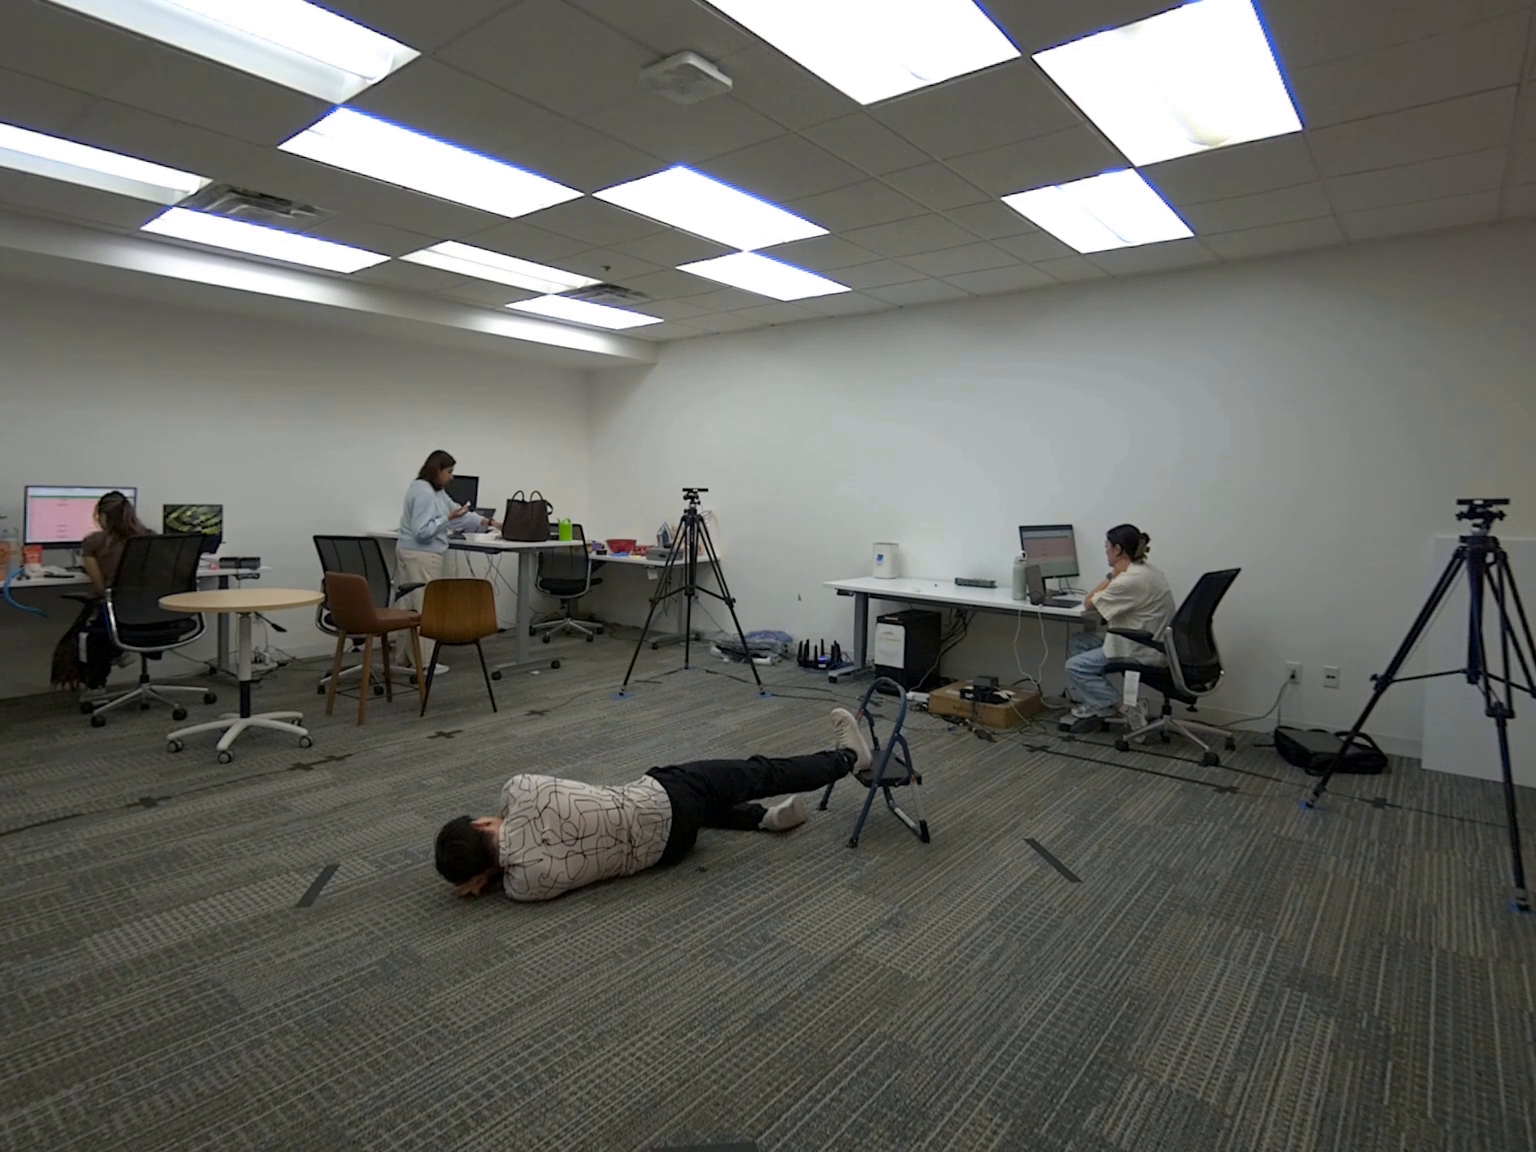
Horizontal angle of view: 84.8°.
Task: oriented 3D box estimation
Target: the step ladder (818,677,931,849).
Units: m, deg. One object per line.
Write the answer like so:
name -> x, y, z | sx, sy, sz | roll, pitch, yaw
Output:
step ladder -> 0.437, 0.743, 3.551 | 0.344, 0.604, 0.438 | 0, 4, -14
